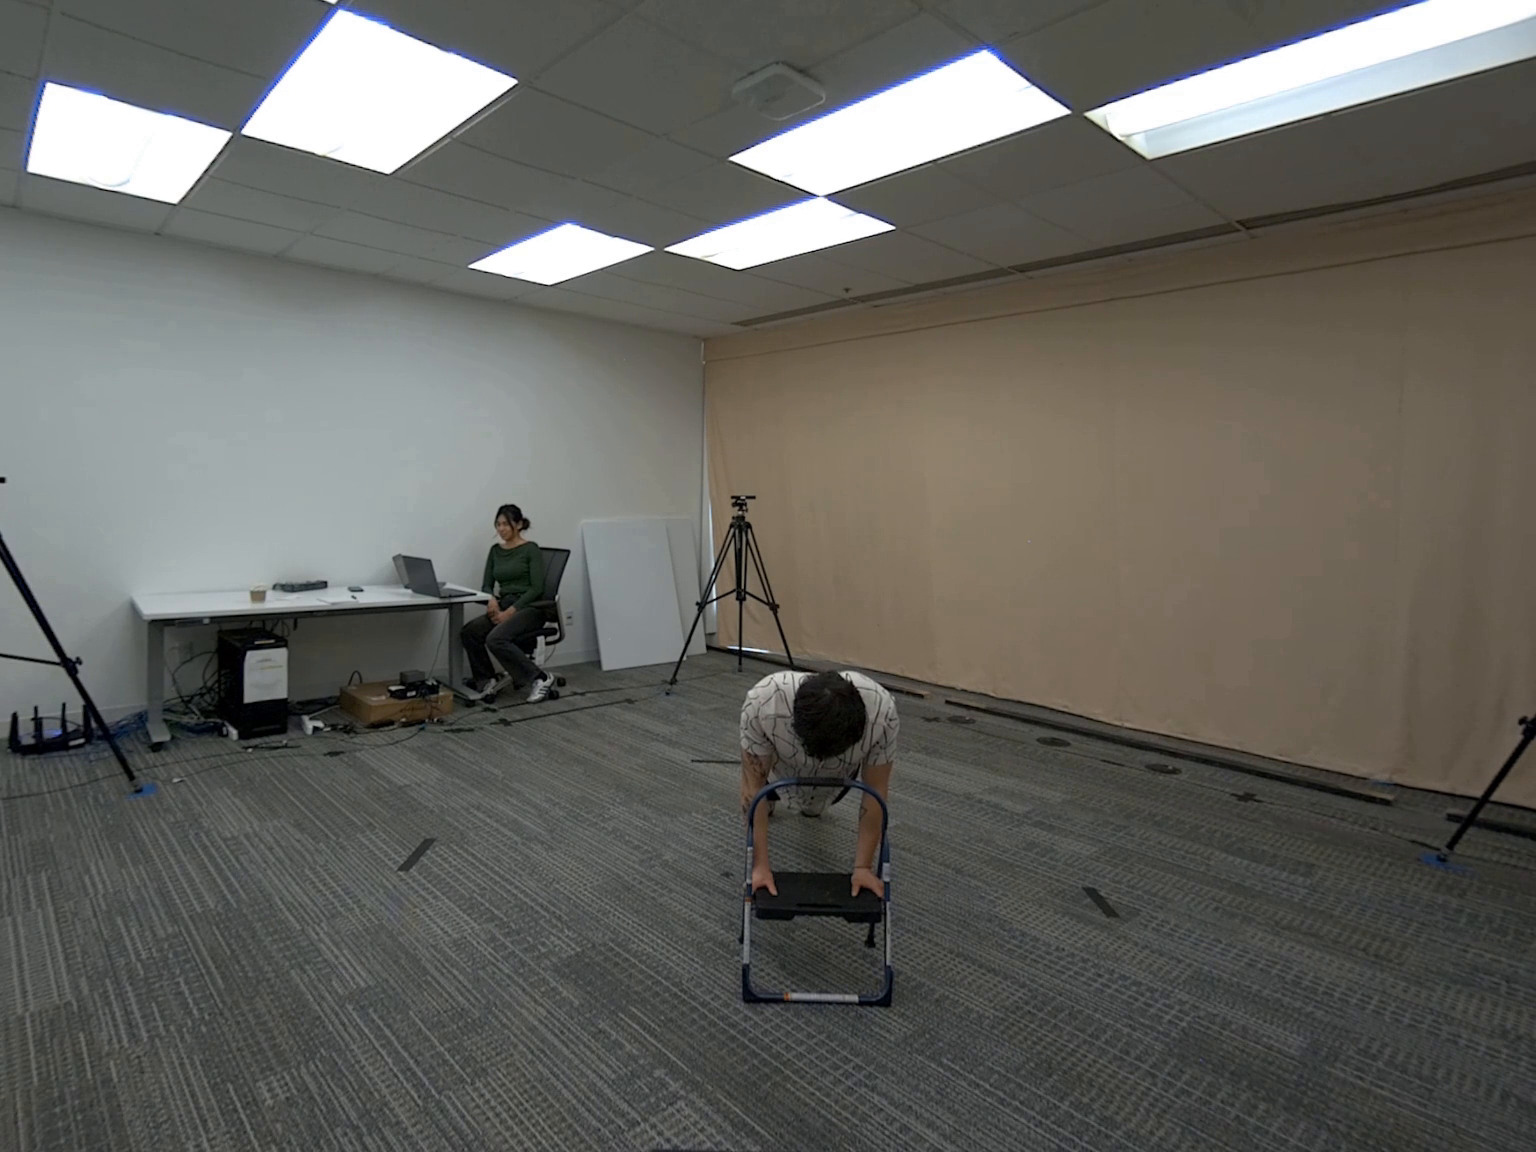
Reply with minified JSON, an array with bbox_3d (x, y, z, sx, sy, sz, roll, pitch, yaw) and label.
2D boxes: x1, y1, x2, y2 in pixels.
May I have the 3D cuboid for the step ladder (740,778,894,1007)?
[{"bbox_3d":[0.131,0.870,2.466,0.430,0.605,0.350,1,2,-1],"label":"step ladder"}]
